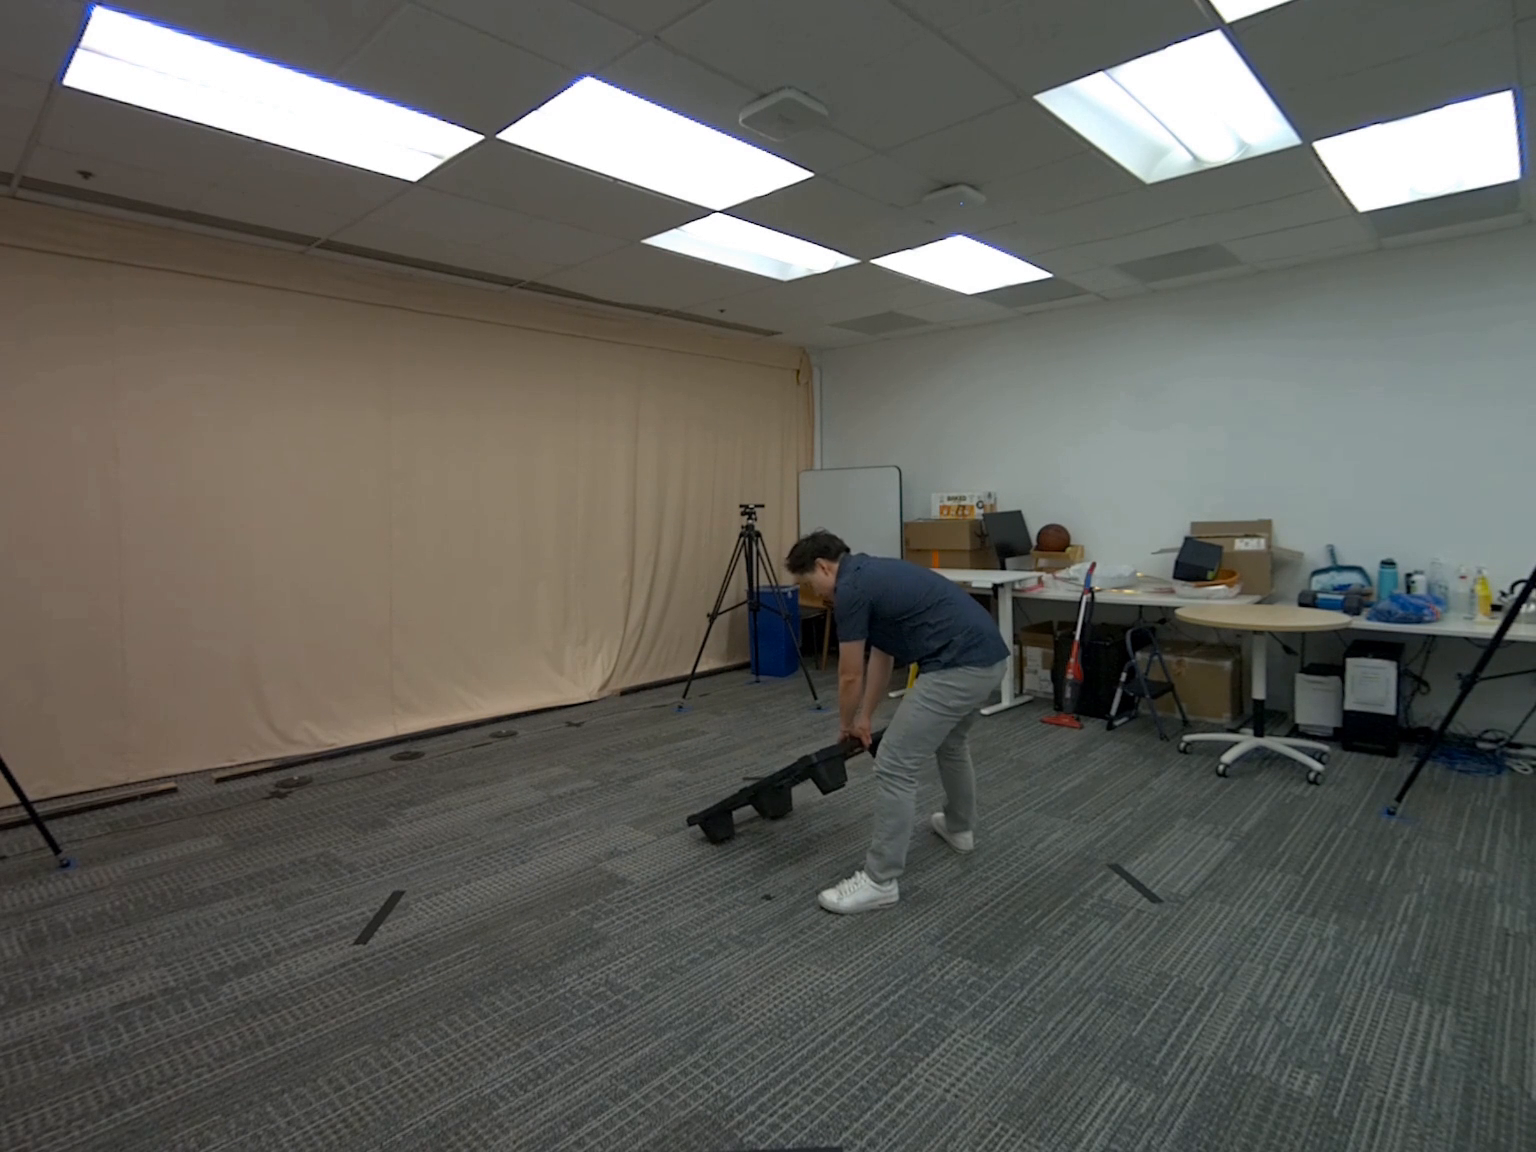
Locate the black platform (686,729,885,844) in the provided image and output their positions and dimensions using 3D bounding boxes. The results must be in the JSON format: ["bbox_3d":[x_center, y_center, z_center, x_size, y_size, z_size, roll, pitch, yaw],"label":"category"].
[{"bbox_3d":[0.128,0.851,3.415,0.587,0.146,0.816,-7,-24,-47],"label":"black platform"}]
